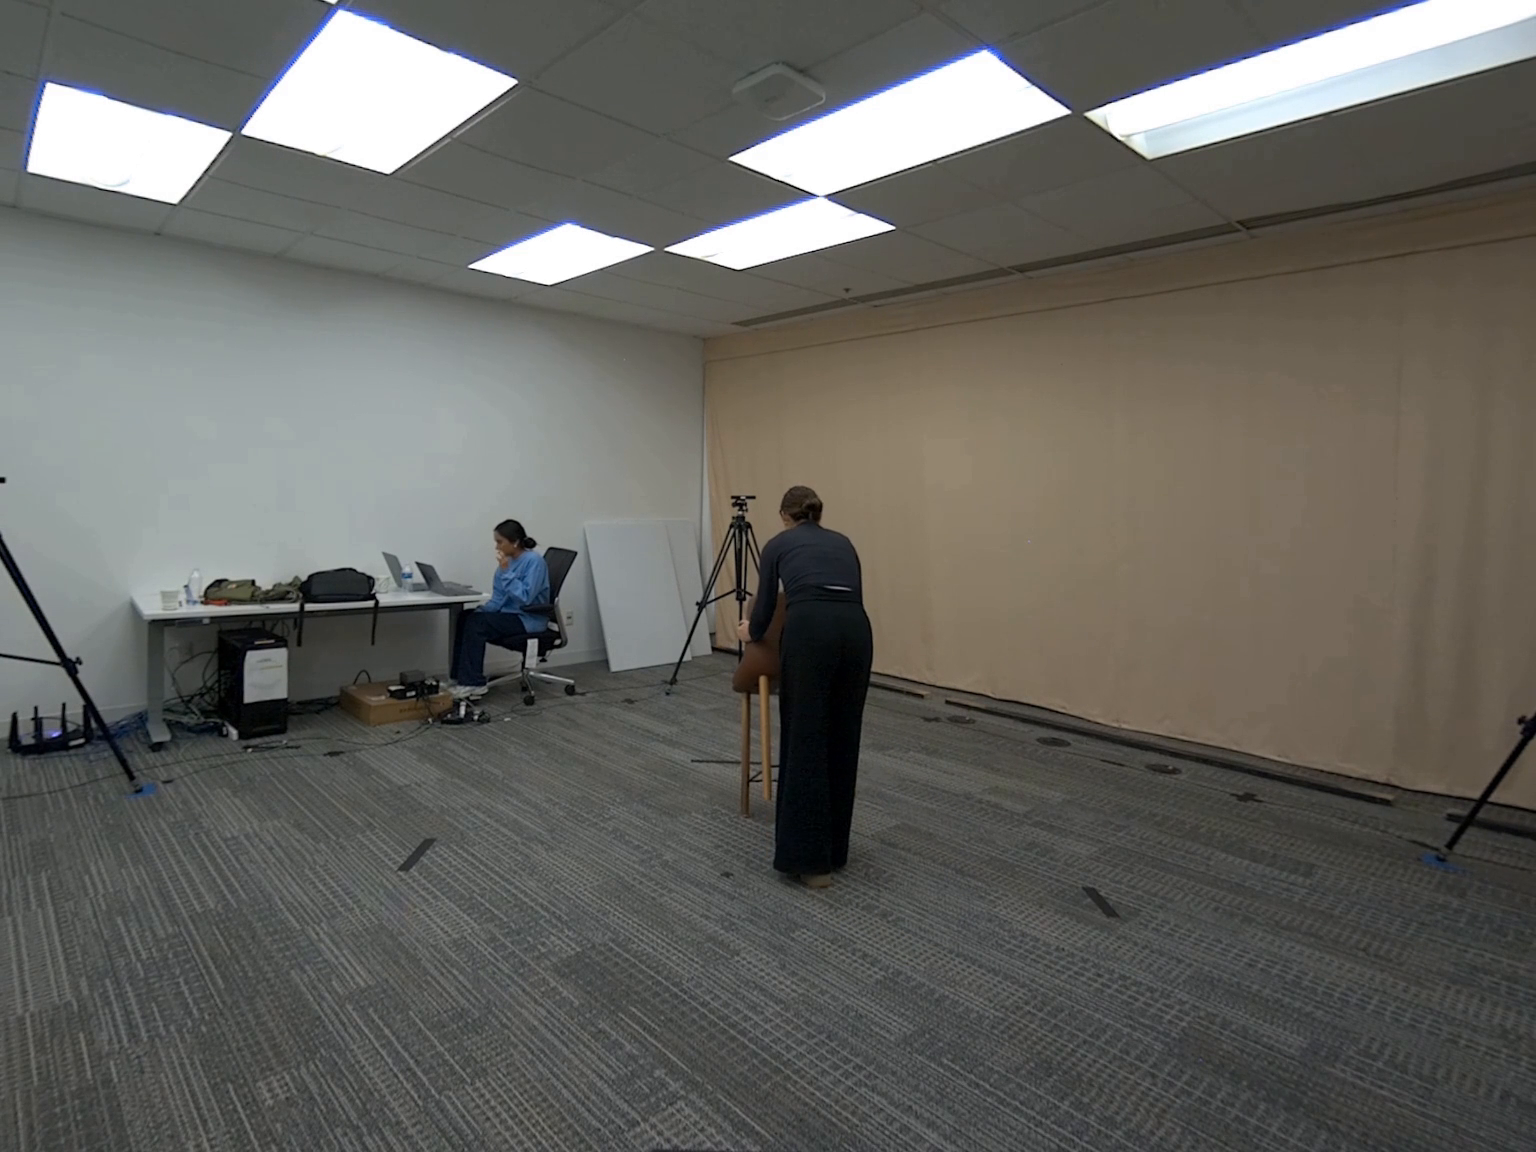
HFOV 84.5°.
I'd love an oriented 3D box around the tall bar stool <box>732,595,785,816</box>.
[{"bbox_3d":[0.091,0.566,3.703,0.452,0.905,0.464,2,-23,-12],"label":"tall bar stool"}]
